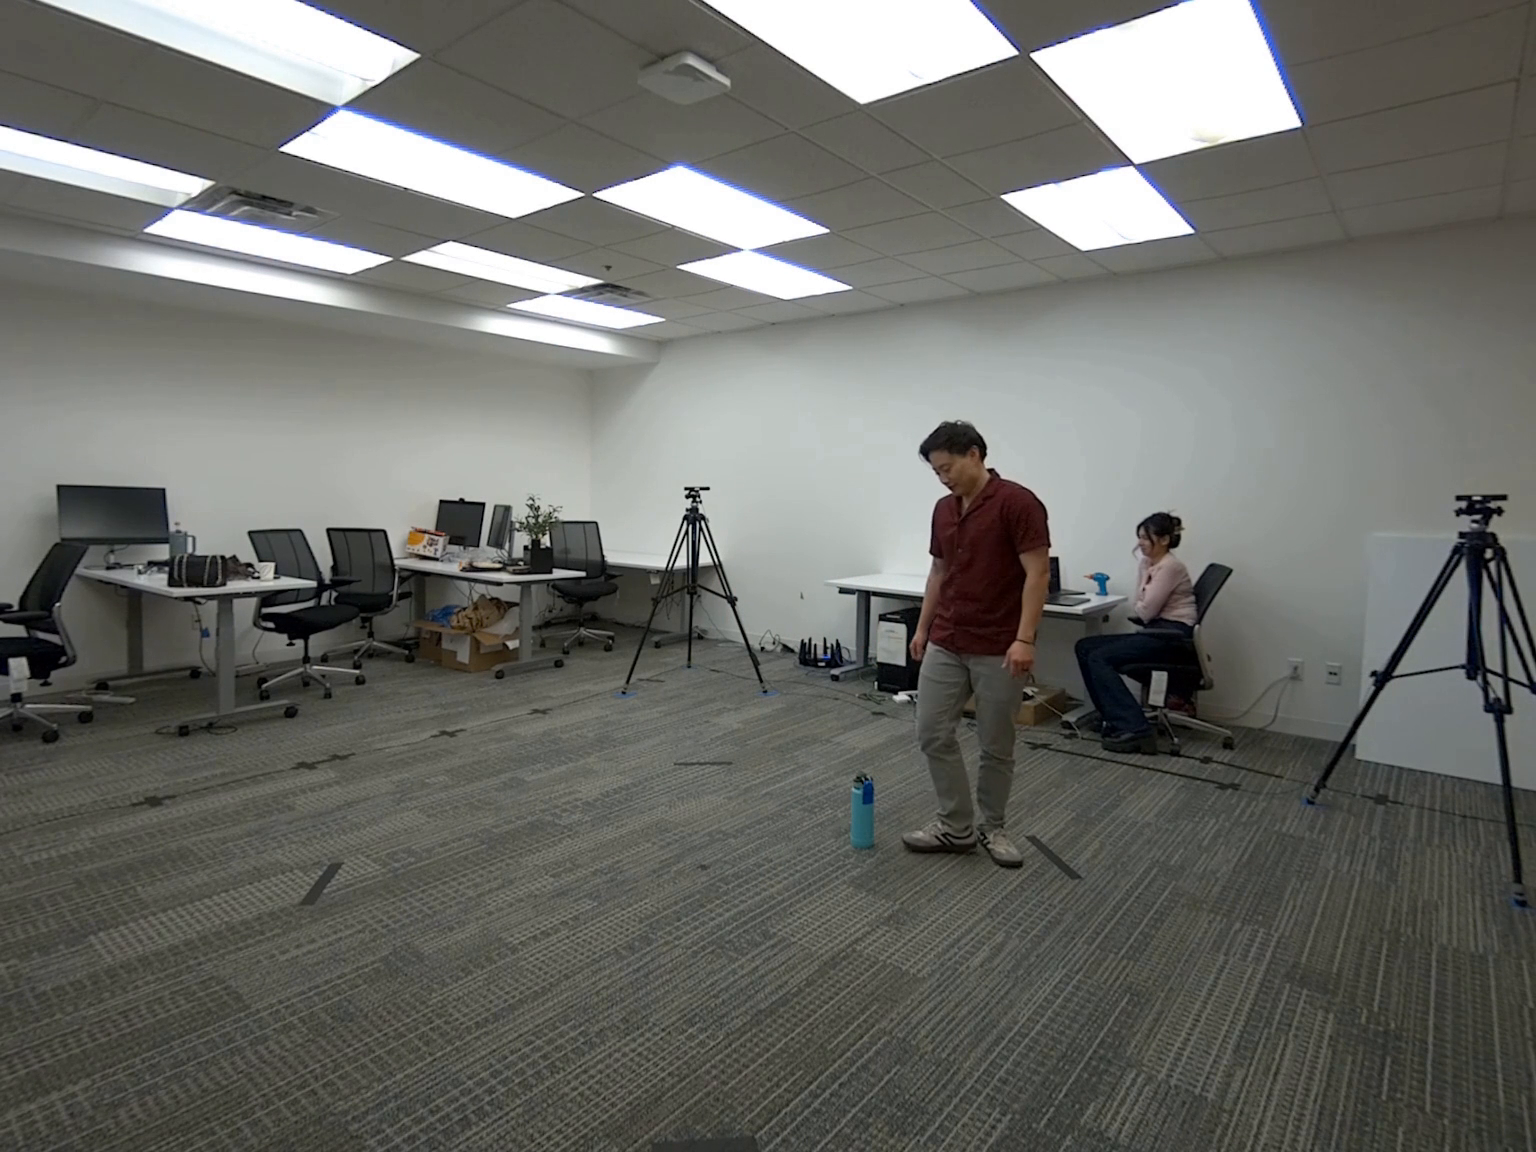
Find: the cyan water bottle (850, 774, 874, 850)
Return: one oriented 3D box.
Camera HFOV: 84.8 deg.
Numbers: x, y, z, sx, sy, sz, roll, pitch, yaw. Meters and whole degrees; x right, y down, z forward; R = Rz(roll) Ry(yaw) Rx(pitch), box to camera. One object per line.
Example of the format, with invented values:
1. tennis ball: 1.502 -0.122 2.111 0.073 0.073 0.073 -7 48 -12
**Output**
1. cyan water bottle: 0.370 0.917 3.353 0.092 0.282 0.093 2 3 -2
